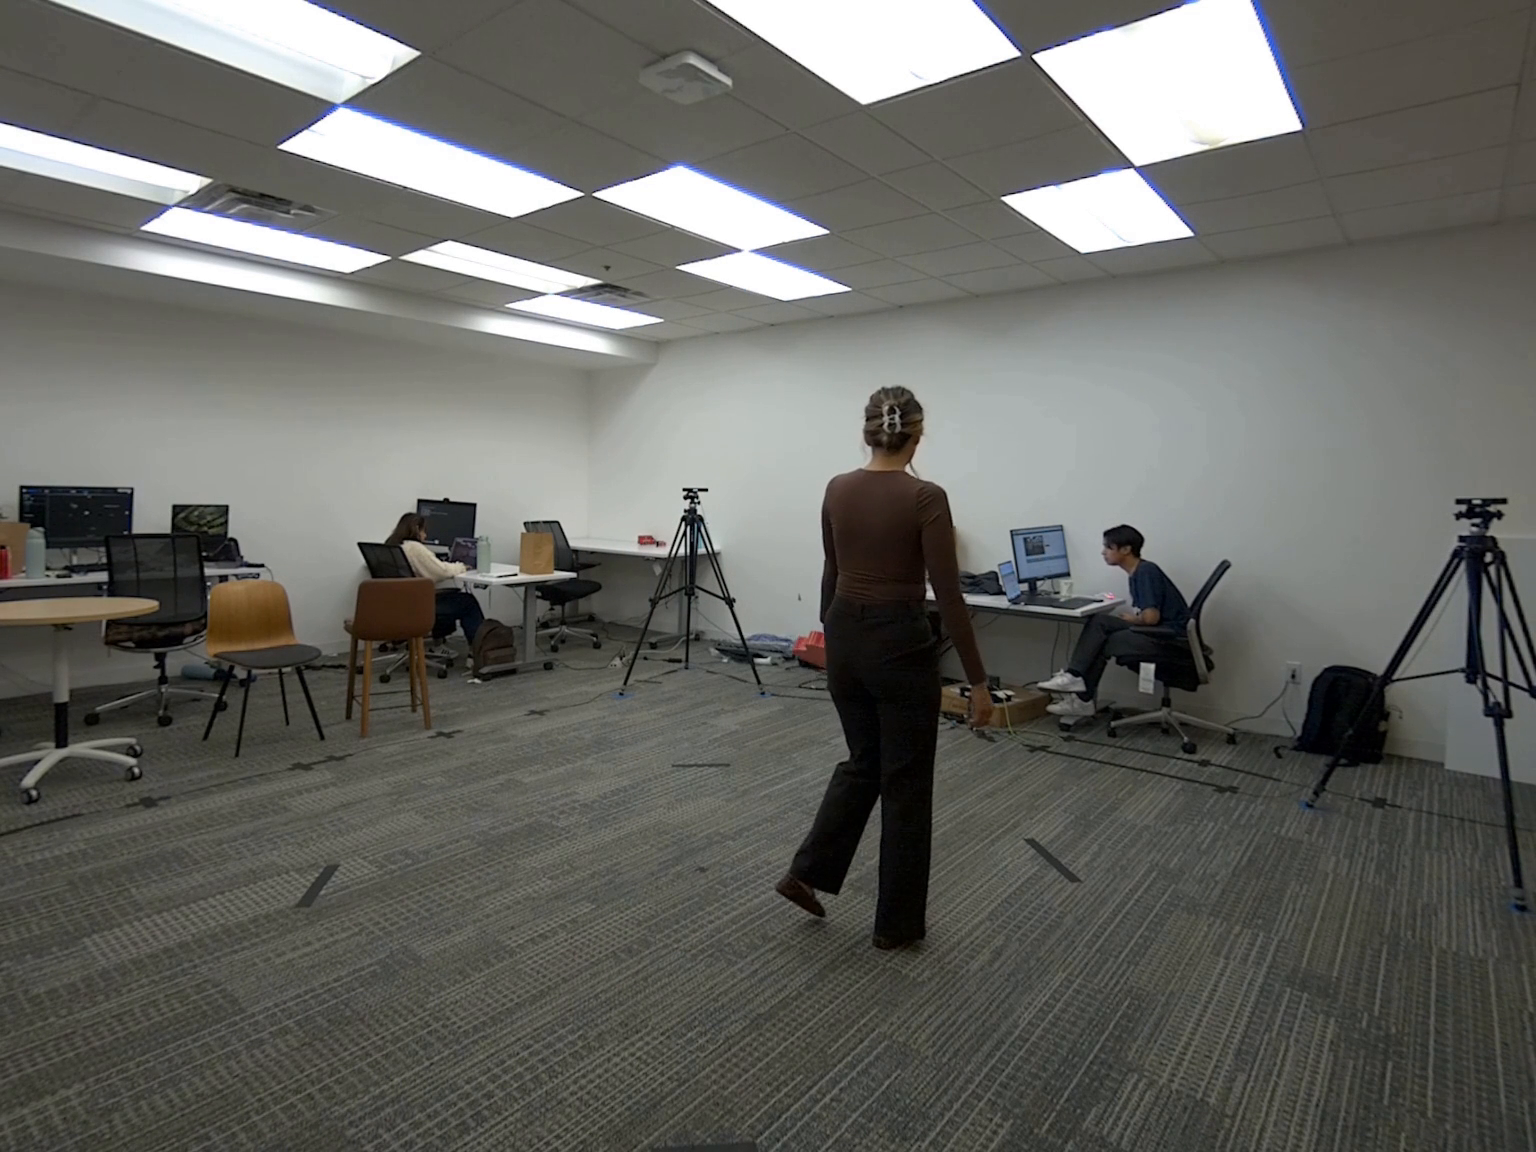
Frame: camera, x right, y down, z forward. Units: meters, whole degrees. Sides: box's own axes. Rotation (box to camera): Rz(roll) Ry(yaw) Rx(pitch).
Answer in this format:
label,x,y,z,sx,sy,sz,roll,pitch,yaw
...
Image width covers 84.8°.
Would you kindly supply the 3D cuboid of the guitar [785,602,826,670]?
label,x,y,z,sx,sy,sz,roll,pitch,yaw
guitar,0.179,0.237,3.164,0.195,0.071,0.488,19,-19,6
